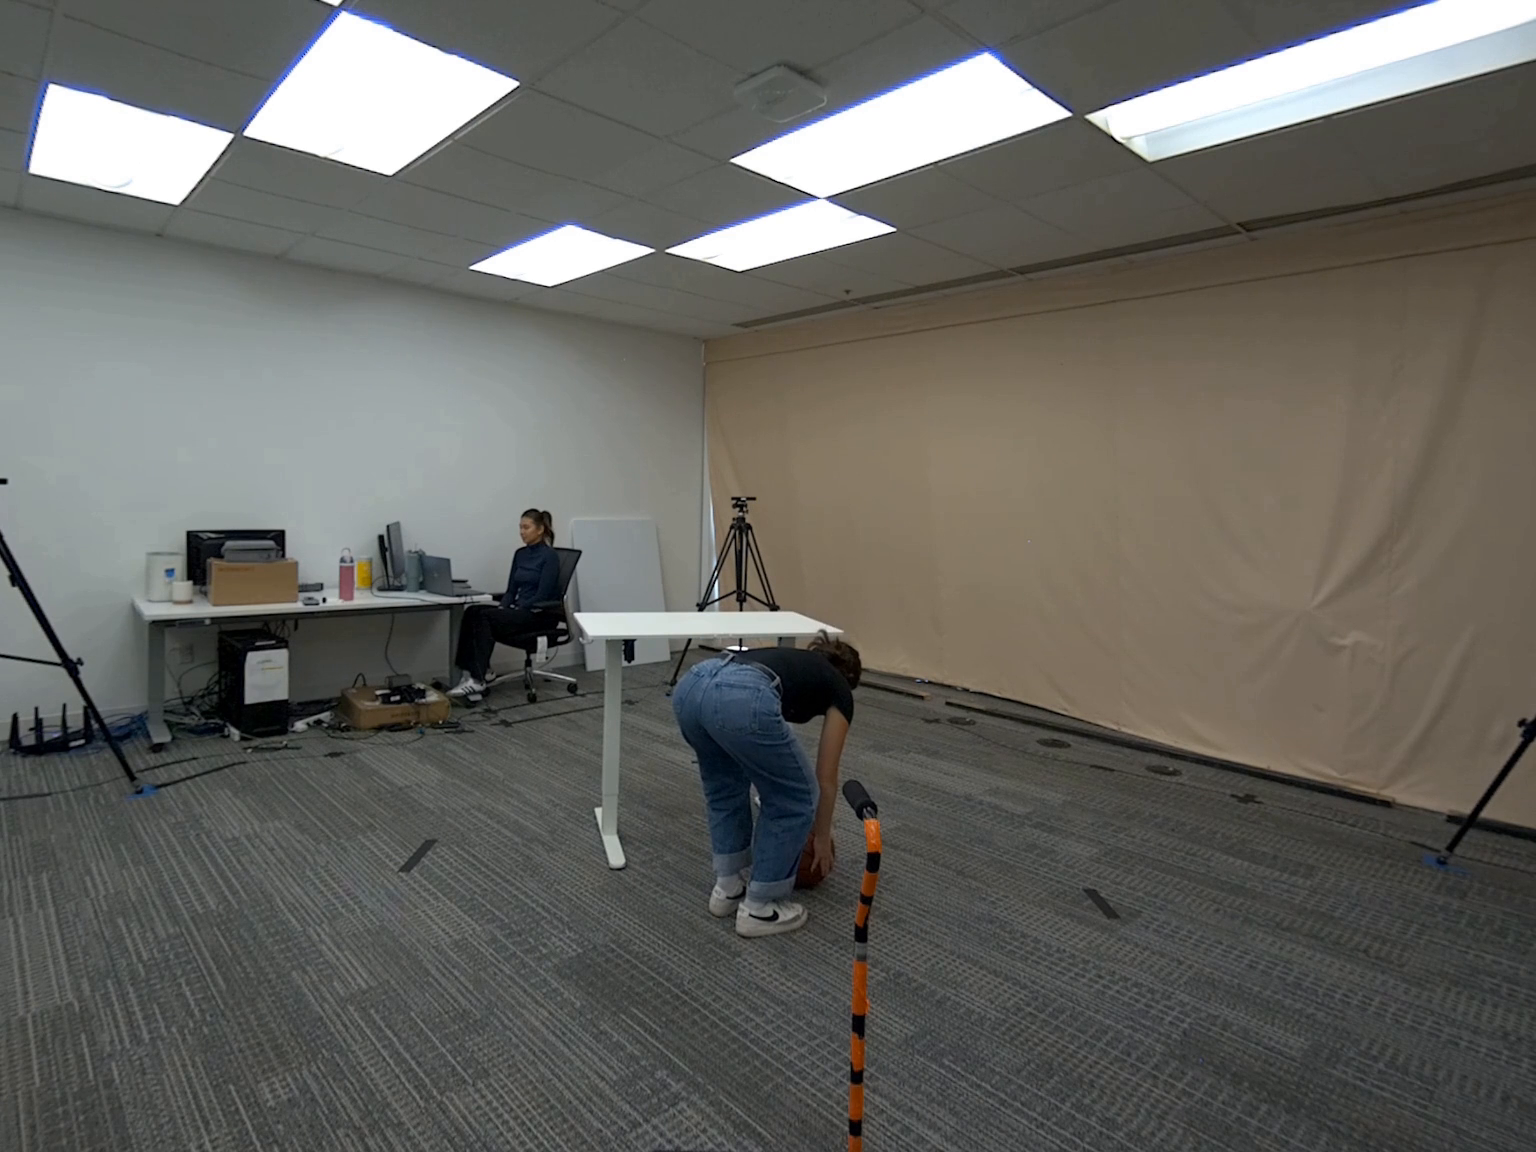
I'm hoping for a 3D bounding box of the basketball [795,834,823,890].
[{"bbox_3d":[0.116,1.004,3.045,0.236,0.235,0.237,1,4,-1],"label":"basketball"}]
